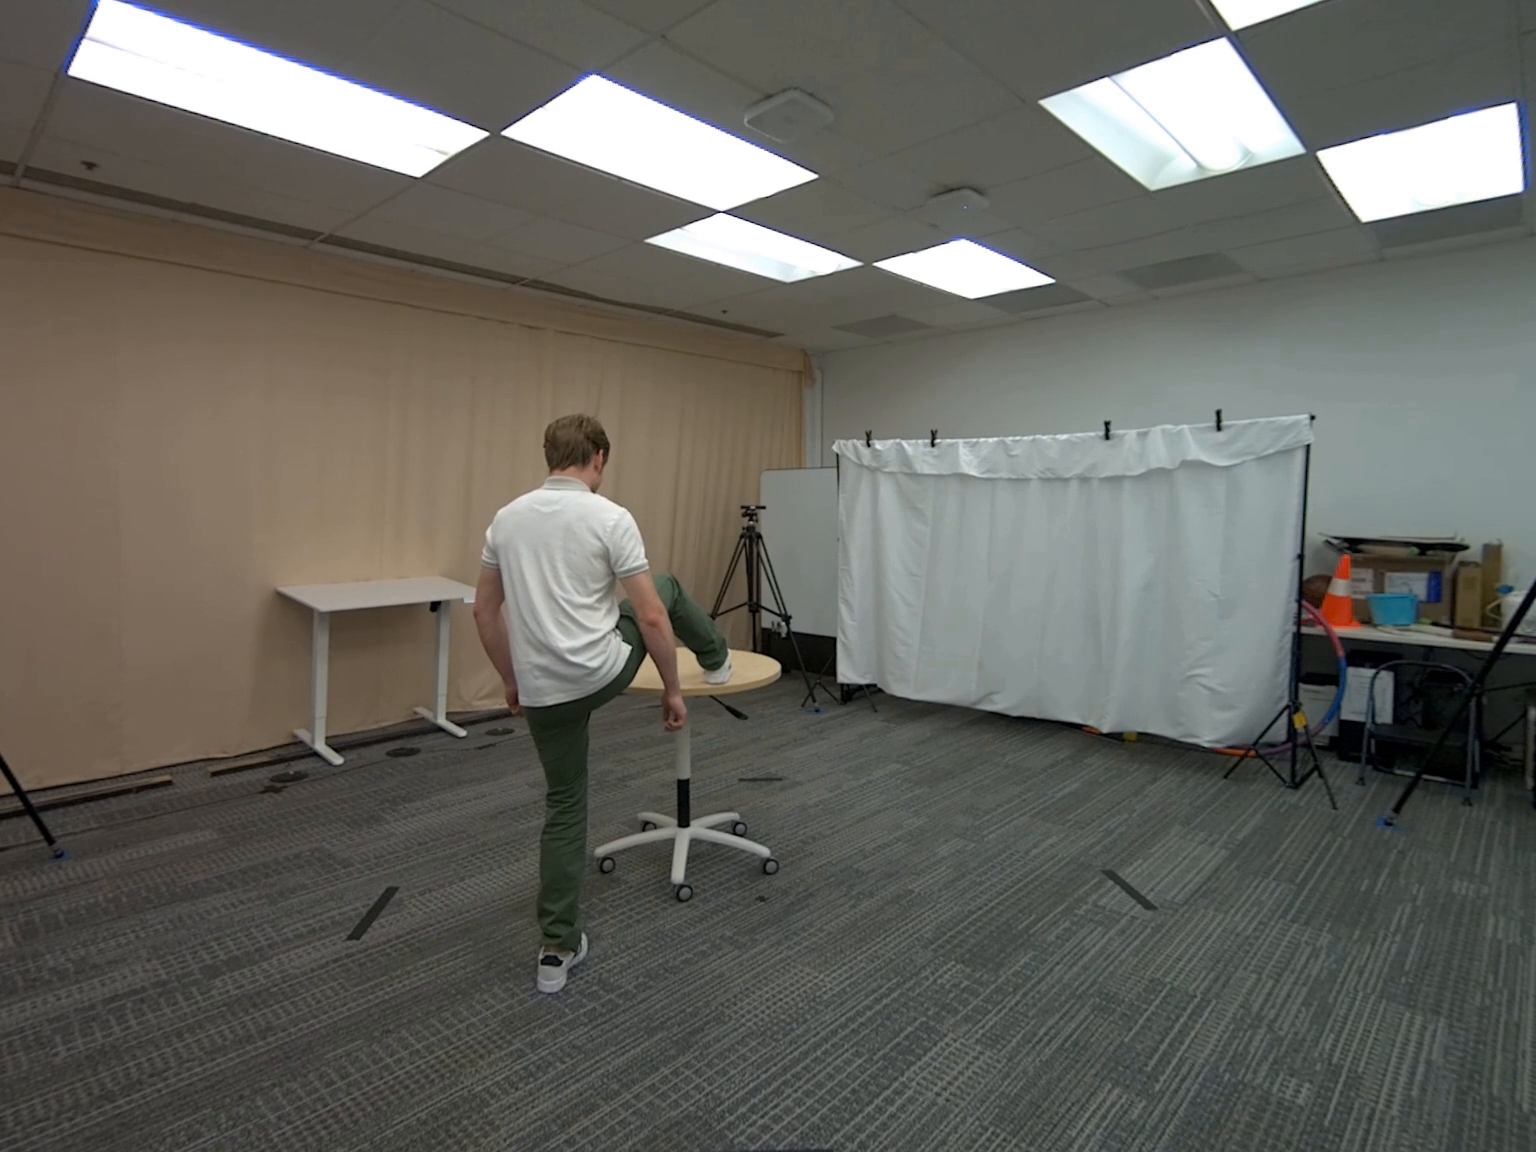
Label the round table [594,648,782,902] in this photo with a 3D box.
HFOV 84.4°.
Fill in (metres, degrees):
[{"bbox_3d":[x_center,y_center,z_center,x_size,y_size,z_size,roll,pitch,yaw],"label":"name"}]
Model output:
[{"bbox_3d":[-0.321,0.737,3.291,0.763,0.792,0.767,-1,4,-2],"label":"round table"}]
